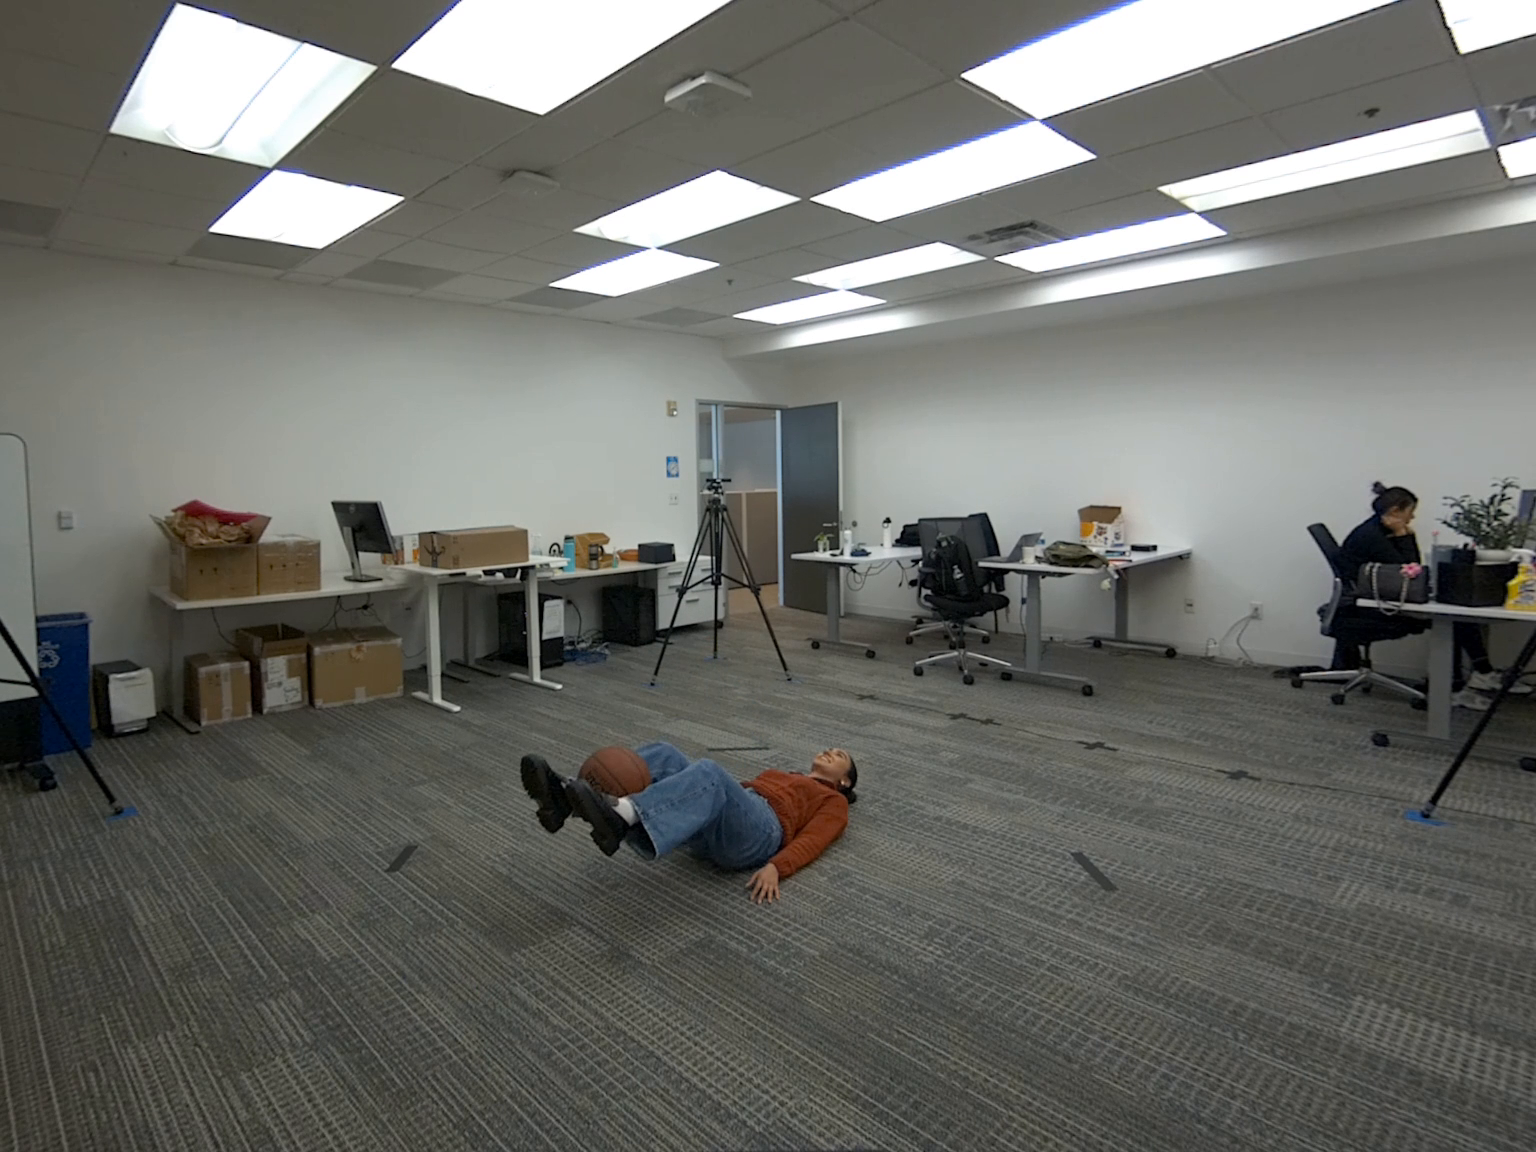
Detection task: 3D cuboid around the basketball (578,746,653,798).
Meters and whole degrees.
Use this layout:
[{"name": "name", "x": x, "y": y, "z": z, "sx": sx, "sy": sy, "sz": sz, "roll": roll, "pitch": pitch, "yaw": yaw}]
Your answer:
[{"name": "basketball", "x": -0.489, "y": 0.666, "z": 2.708, "sx": 0.236, "sy": 0.235, "sz": 0.237, "roll": -1, "pitch": 5, "yaw": -2}]
